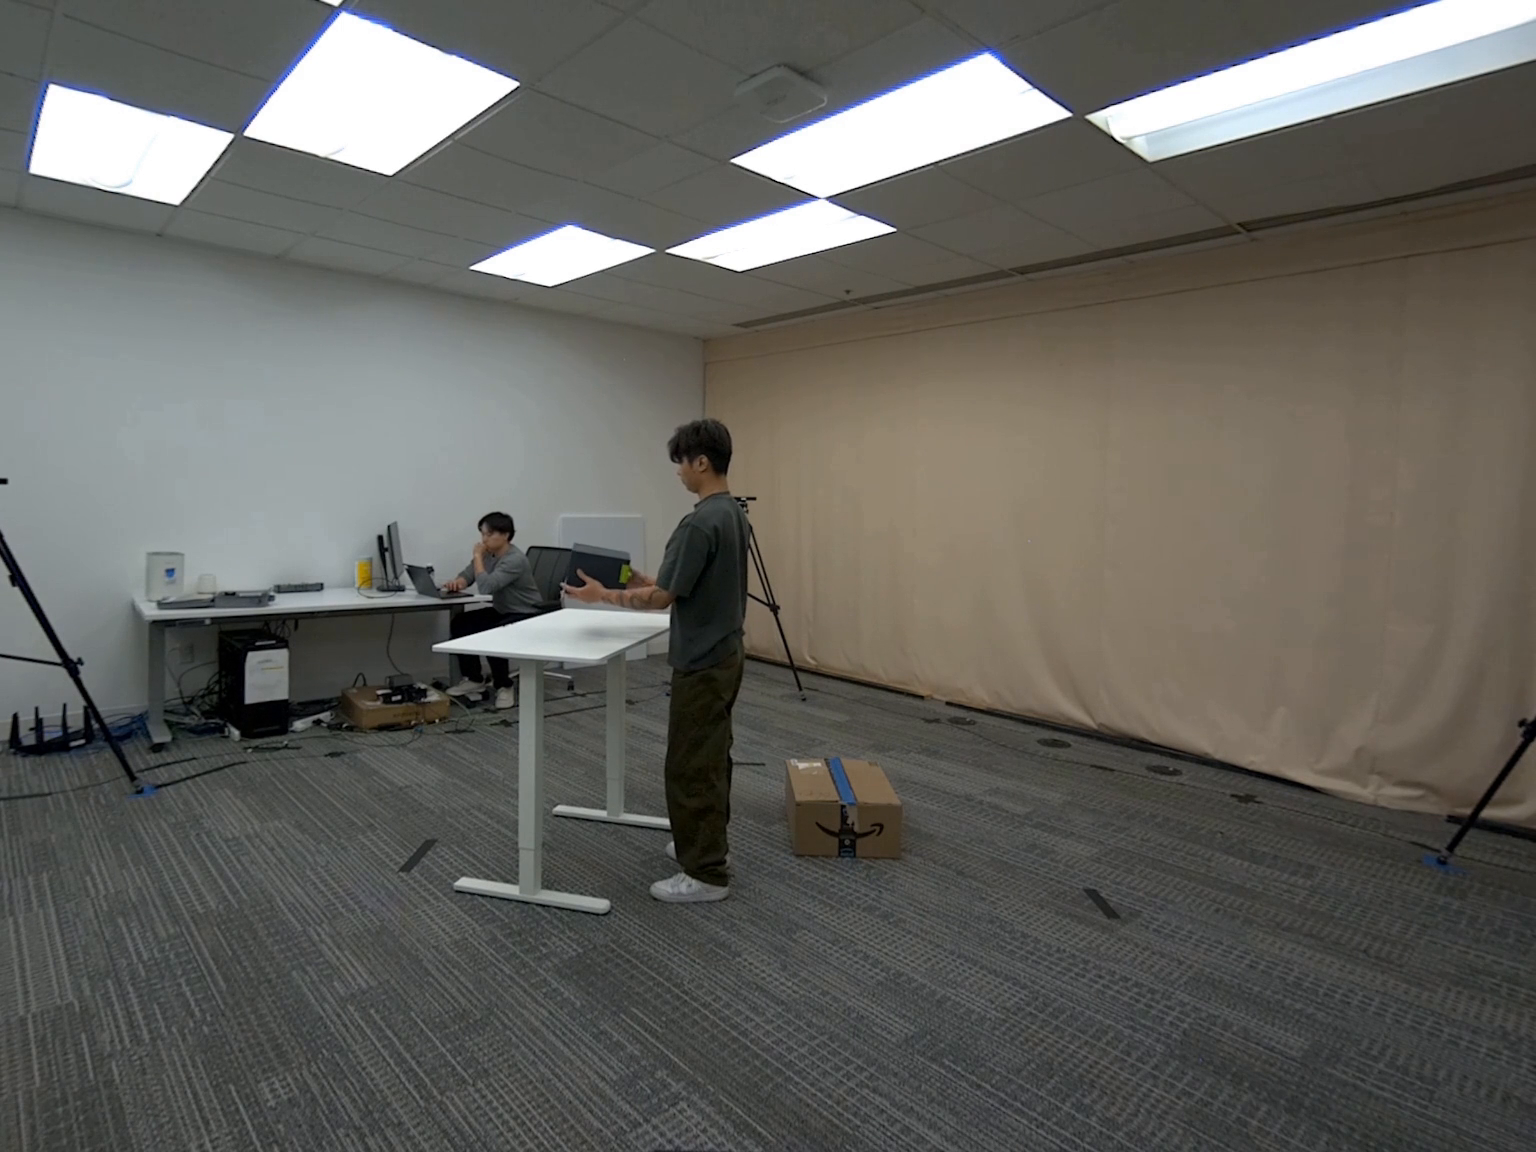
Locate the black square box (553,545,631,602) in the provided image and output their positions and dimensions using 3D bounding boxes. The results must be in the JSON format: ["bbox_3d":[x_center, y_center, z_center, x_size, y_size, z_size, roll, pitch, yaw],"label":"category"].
[{"bbox_3d":[-0.629,-0.017,3.115,0.215,0.155,0.230,9,6,-8],"label":"black square box"}]
